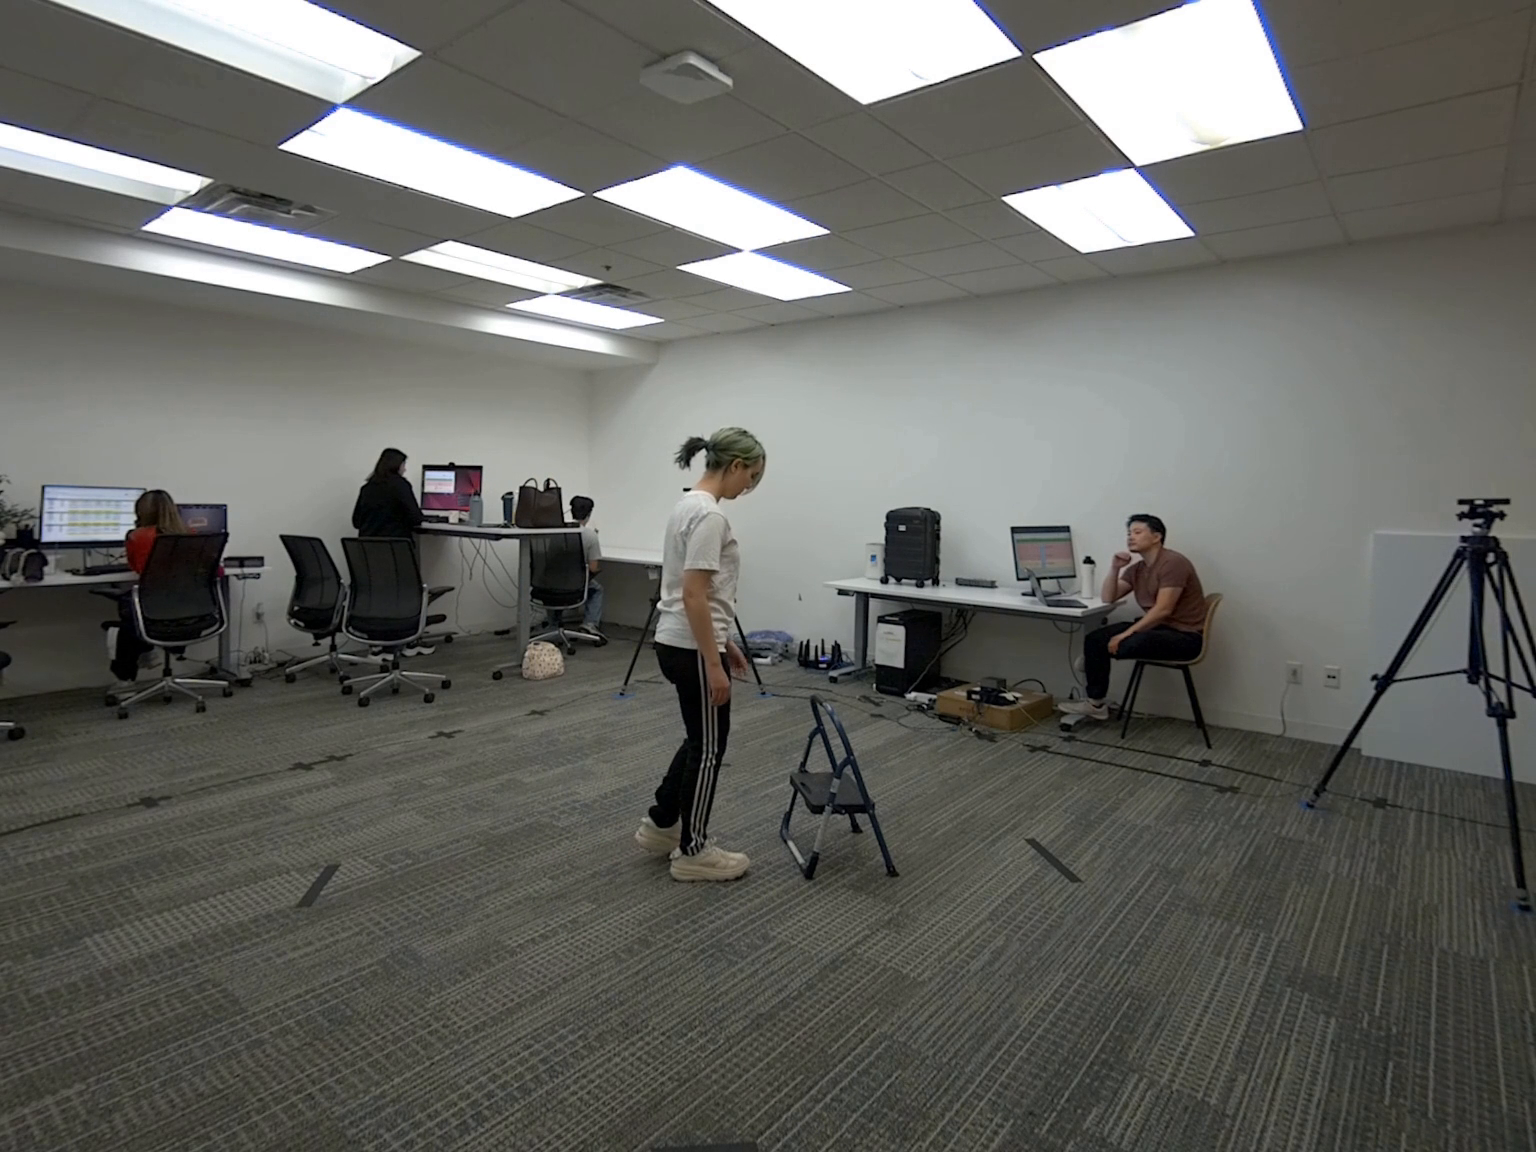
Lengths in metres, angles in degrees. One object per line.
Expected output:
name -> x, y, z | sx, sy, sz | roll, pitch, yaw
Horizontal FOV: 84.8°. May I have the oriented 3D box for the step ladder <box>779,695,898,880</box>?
step ladder -> 0.257, 0.766, 3.255 | 0.344, 0.604, 0.438 | 1, 4, -14
